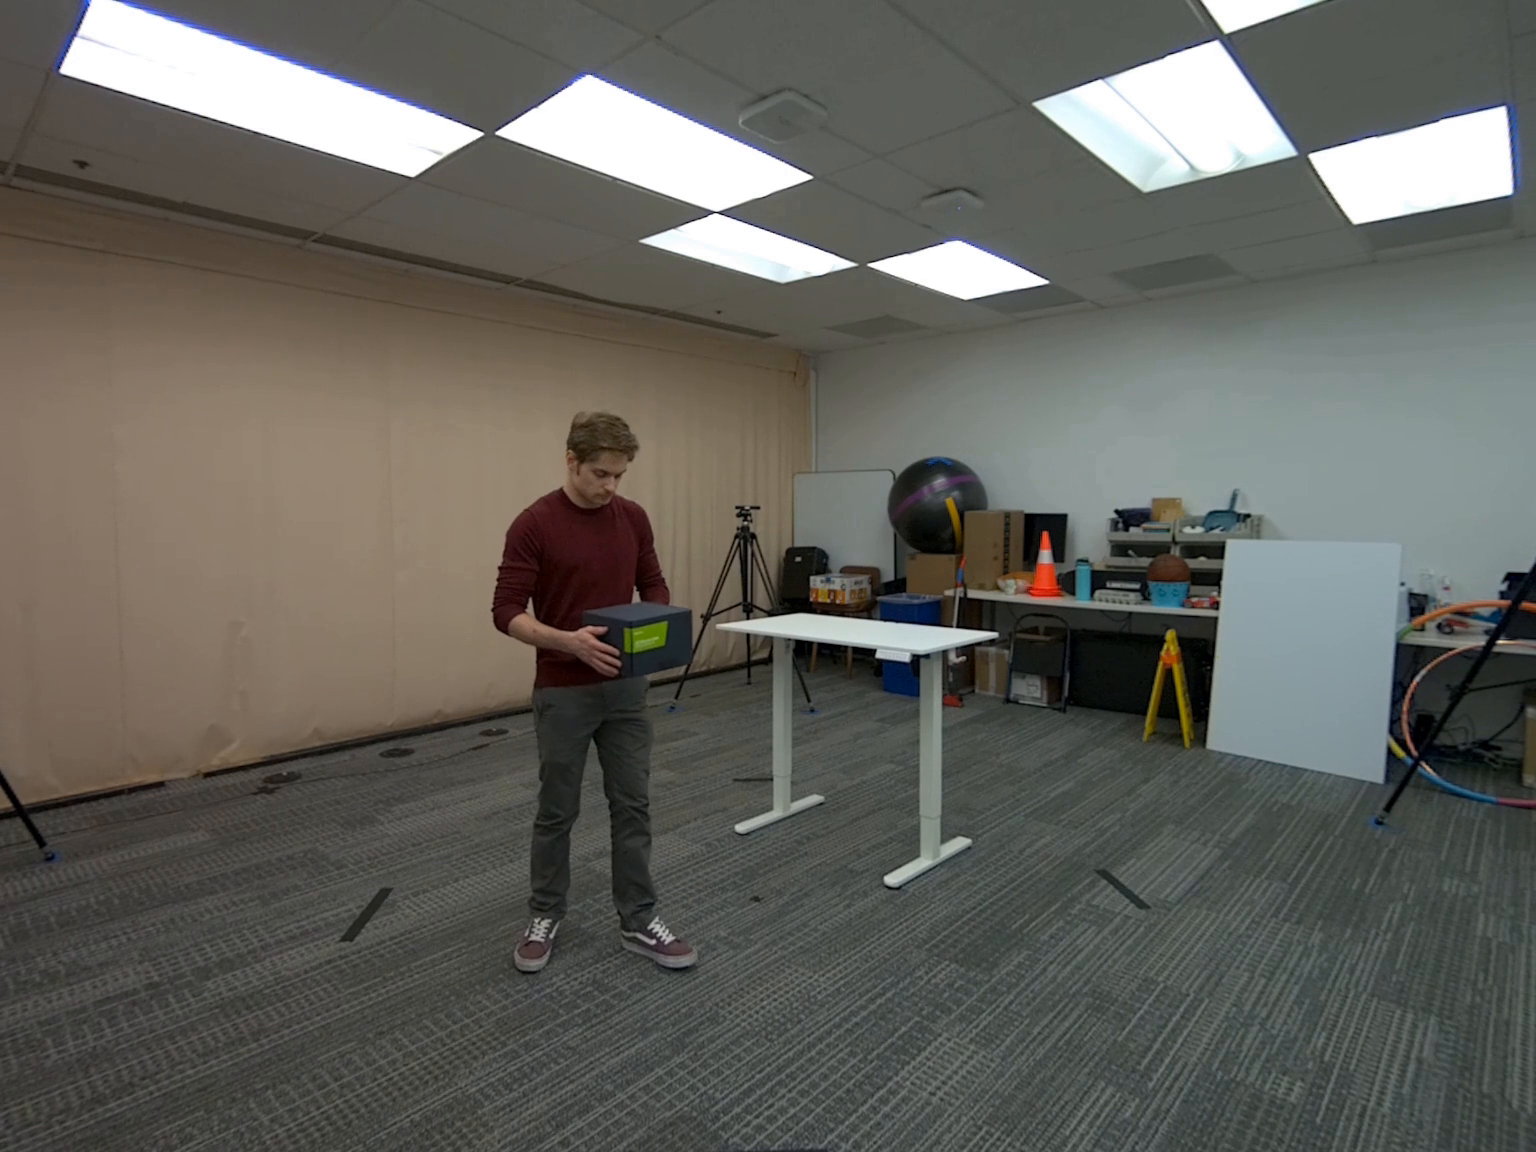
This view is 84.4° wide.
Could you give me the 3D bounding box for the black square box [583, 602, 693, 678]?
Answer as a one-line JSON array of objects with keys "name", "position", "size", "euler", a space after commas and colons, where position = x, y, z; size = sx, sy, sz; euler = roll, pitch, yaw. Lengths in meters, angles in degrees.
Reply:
[{"name": "black square box", "position": [-0.369, 0.176, 2.366], "size": [0.224, 0.155, 0.221], "euler": [6, 10, 43]}]
